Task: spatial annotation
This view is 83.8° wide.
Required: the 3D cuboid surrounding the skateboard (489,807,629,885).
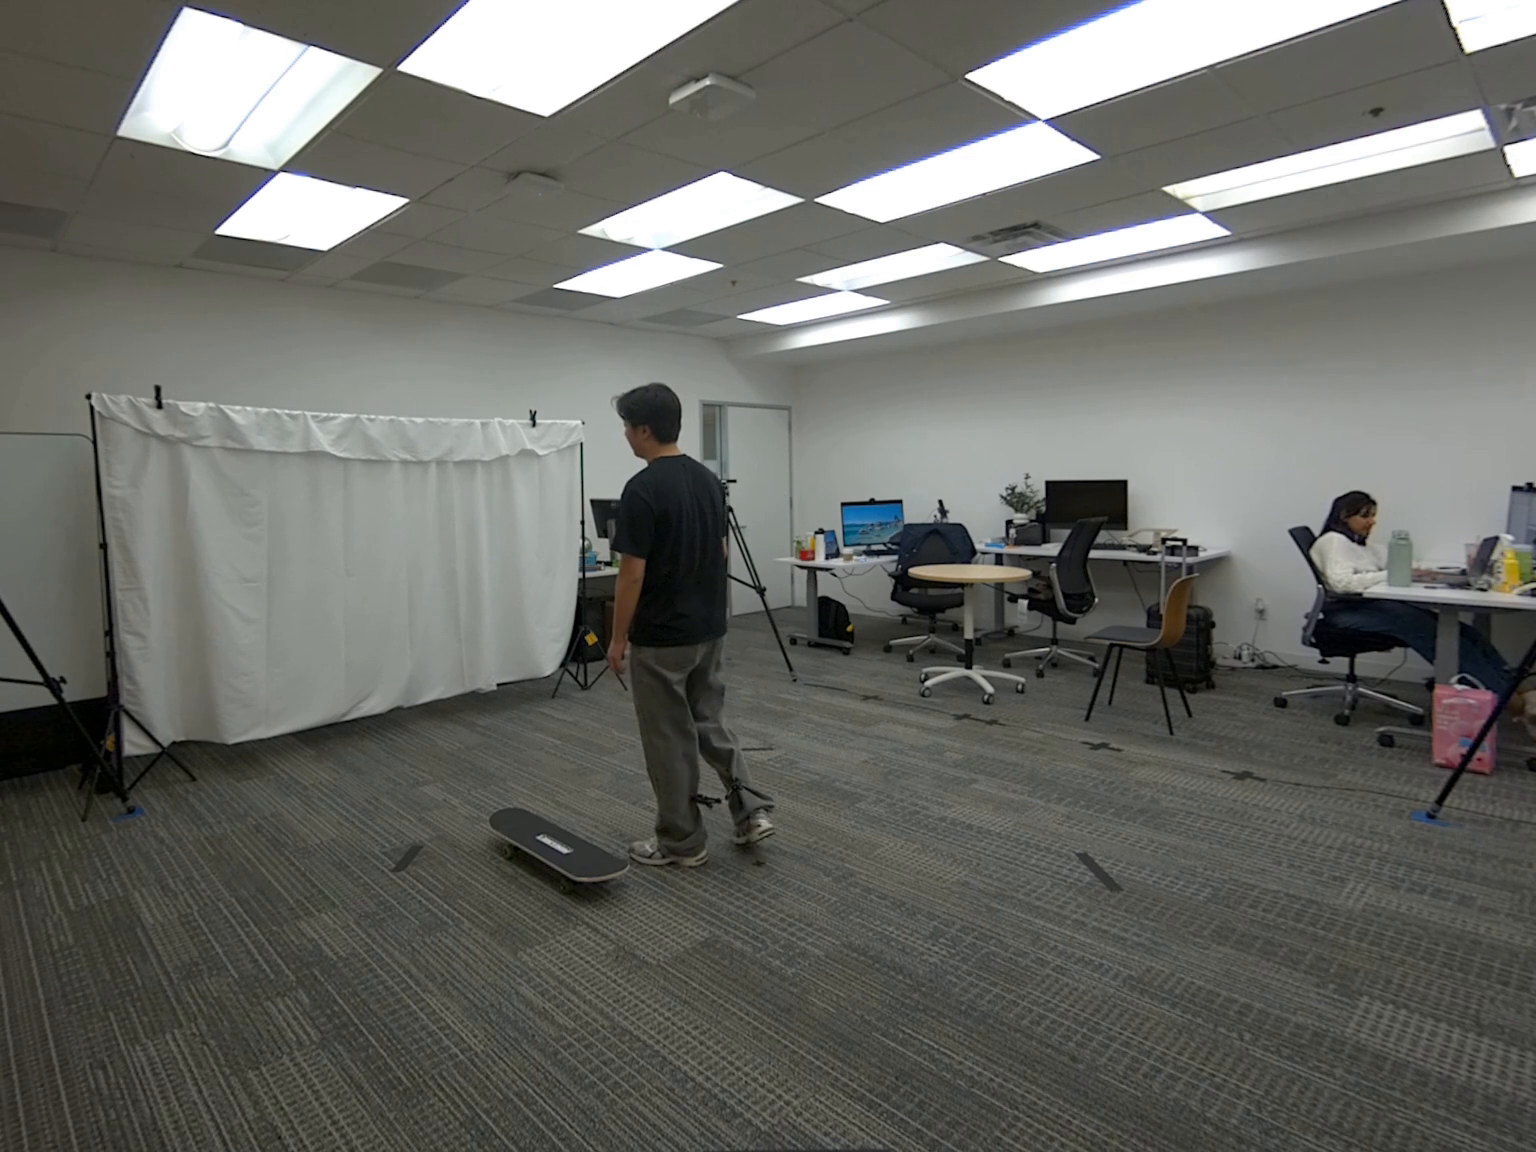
[{"bbox_3d":[-0.772,1.006,3.110,0.188,0.110,0.810,-8,9,-44],"label":"skateboard"}]
